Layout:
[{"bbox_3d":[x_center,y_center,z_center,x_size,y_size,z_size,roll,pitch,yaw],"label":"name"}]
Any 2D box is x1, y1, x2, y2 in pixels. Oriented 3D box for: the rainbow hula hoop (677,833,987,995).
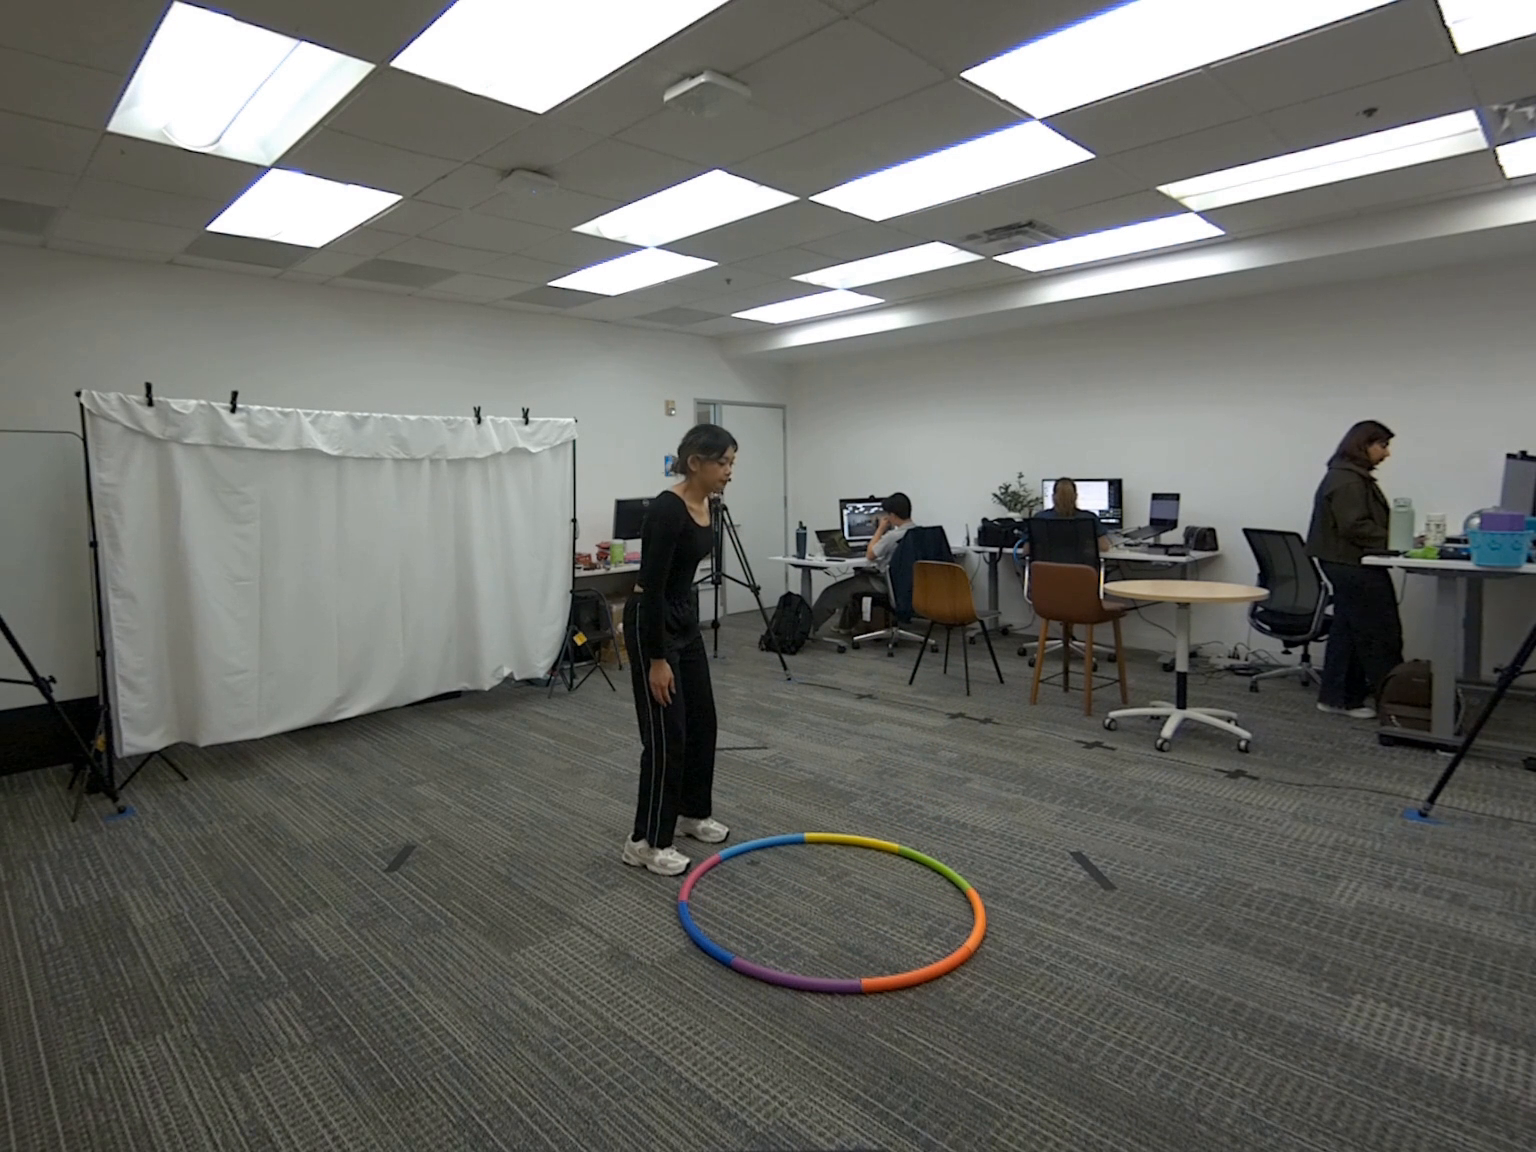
[{"bbox_3d":[0.196,1.046,2.793,0.978,0.035,0.984,-2,7,-2],"label":"rainbow hula hoop"}]
